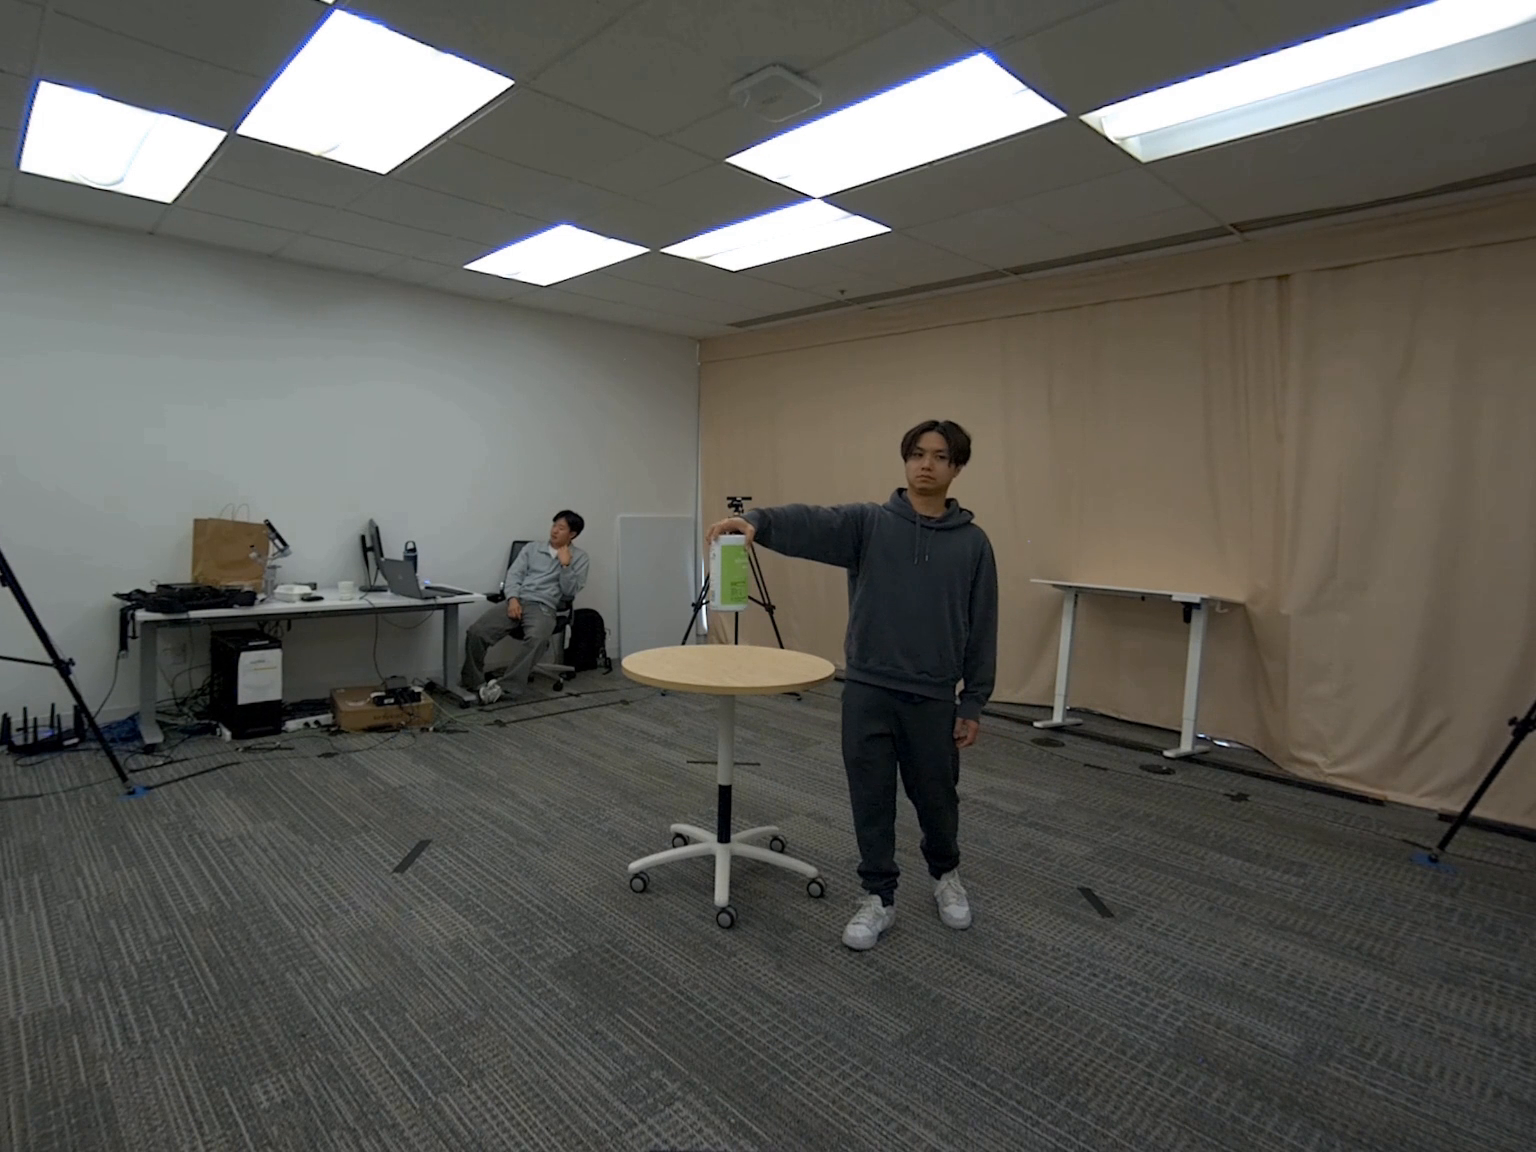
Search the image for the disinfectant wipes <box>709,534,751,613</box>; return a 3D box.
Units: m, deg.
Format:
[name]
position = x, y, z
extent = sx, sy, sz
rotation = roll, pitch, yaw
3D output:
[disinfectant wipes]
position = -0.128, -0.006, 2.379
extent = 0.118, 0.217, 0.118
rotation = -1, 2, -1
